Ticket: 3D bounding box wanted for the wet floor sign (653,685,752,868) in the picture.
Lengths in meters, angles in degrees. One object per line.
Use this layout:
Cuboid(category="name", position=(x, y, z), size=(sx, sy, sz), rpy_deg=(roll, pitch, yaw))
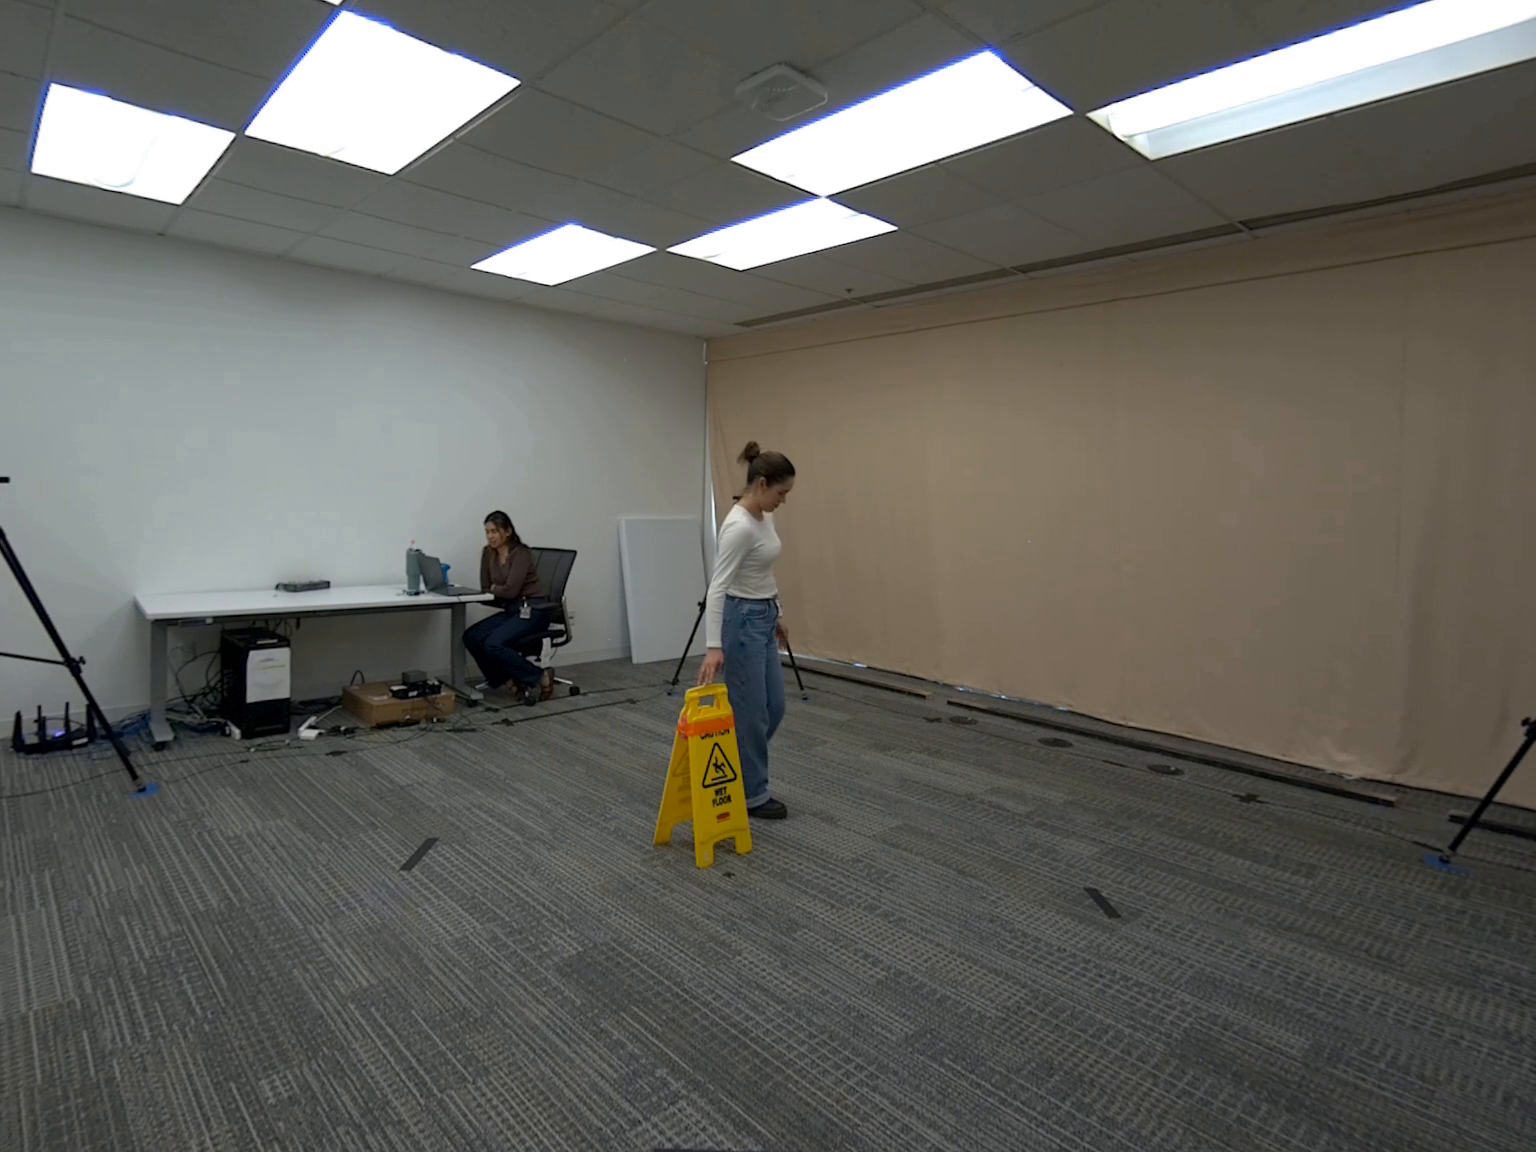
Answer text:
Cuboid(category="wet floor sign", position=(-0.262, 0.757, 3.323), size=(0.276, 0.645, 0.297), rpy_deg=(-1, 4, -43))
